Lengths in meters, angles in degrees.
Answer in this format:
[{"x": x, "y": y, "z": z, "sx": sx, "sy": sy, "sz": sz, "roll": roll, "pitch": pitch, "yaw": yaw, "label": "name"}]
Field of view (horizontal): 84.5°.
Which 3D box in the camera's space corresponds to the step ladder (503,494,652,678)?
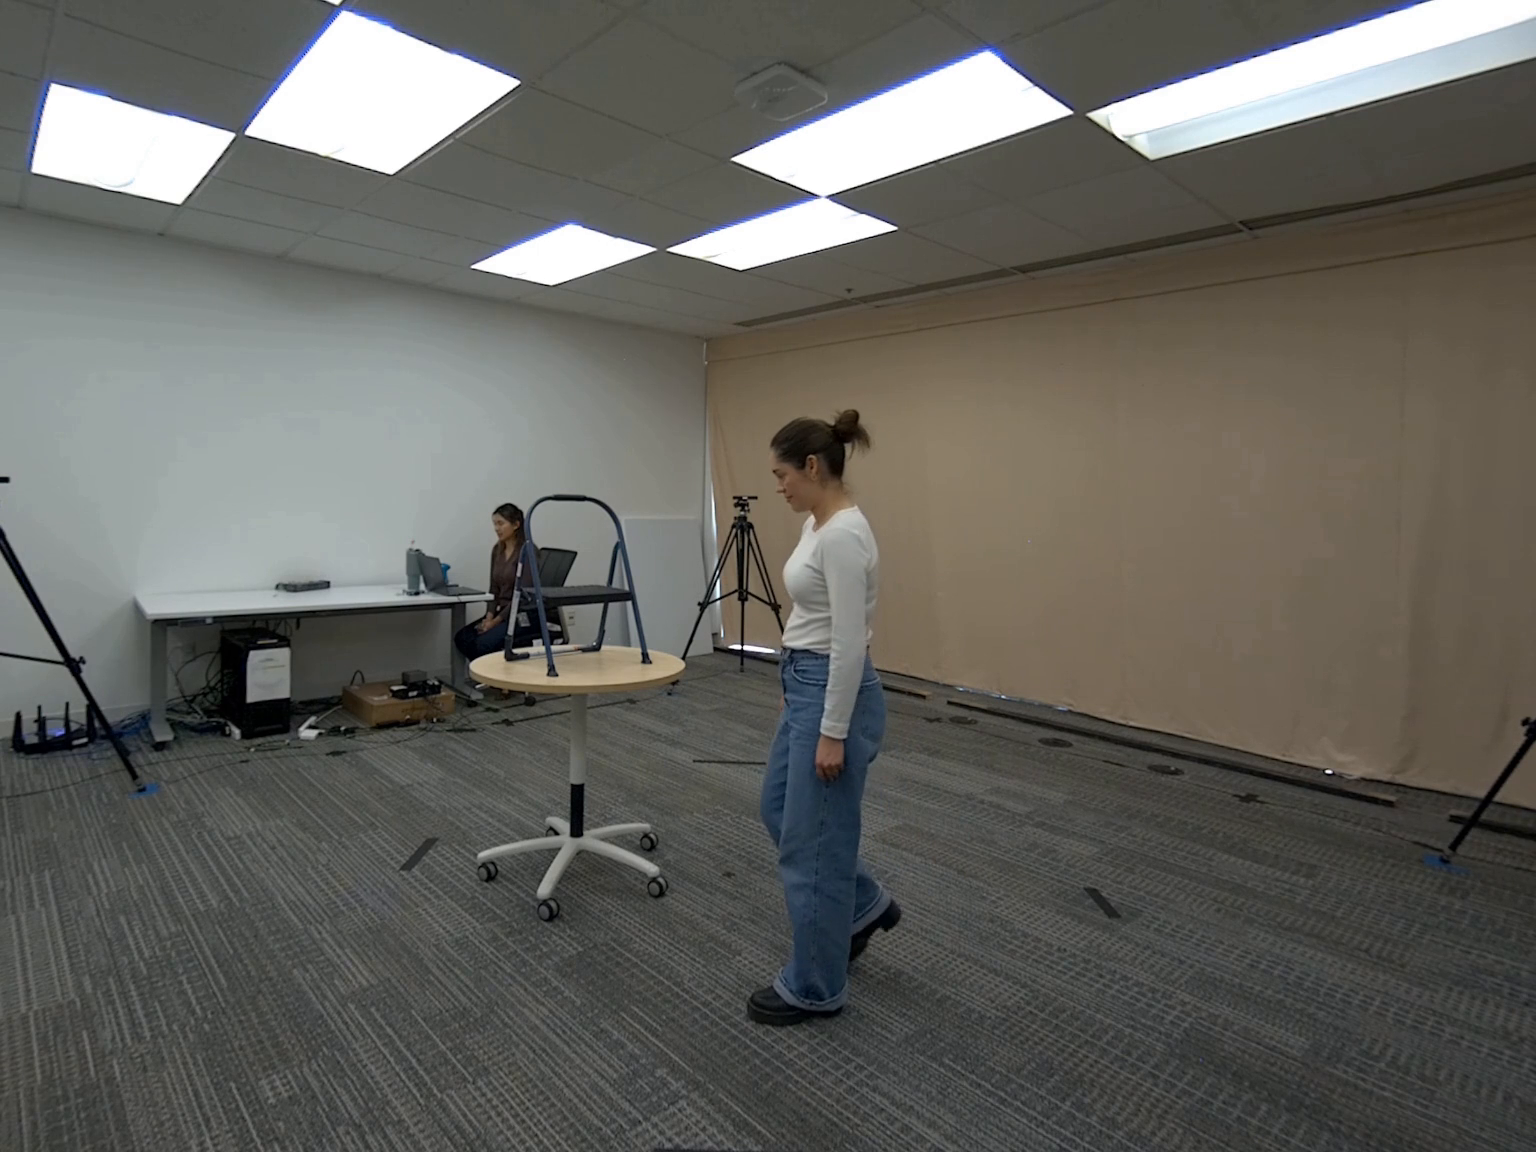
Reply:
[{"x": -0.689, "y": 0.013, "z": 3.049, "sx": 0.358, "sy": 0.605, "sz": 0.420, "roll": 5, "pitch": 4, "yaw": 45, "label": "step ladder"}]
